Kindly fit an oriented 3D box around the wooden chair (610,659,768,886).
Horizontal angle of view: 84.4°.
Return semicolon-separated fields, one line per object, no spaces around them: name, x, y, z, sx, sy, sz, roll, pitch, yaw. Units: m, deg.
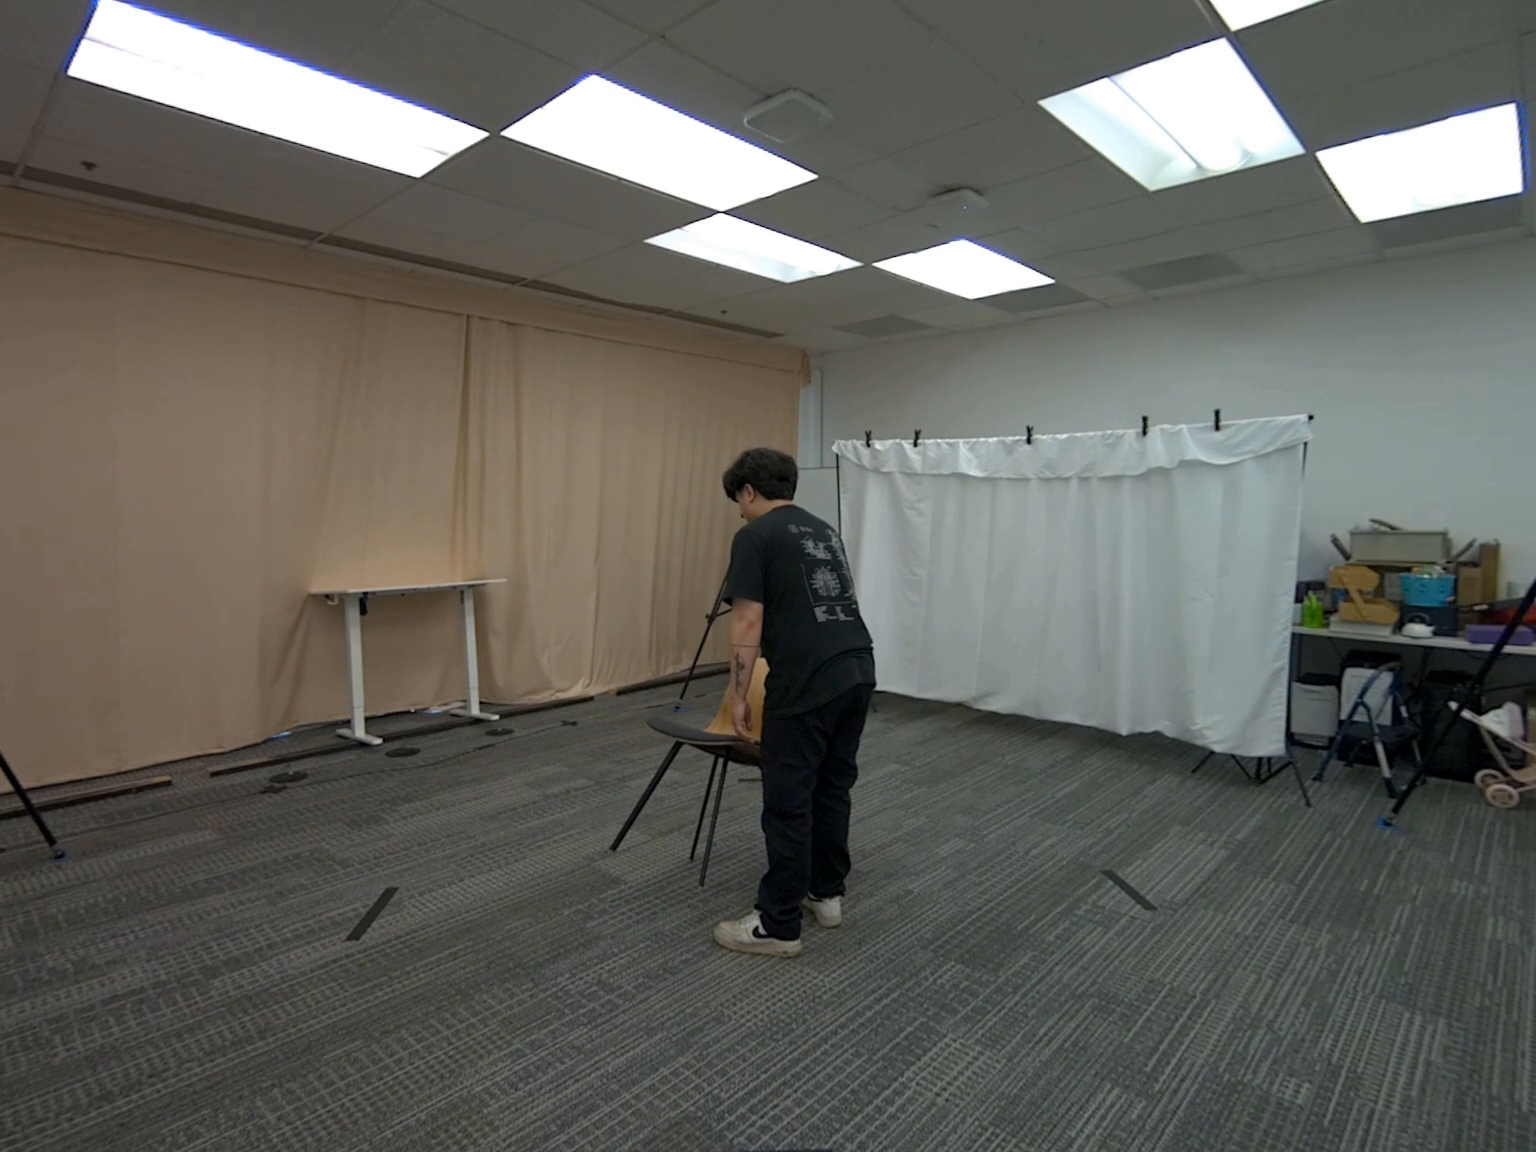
wooden chair;-0.169;0.654;3.101;0.494;0.881;0.504;3;-21;41
